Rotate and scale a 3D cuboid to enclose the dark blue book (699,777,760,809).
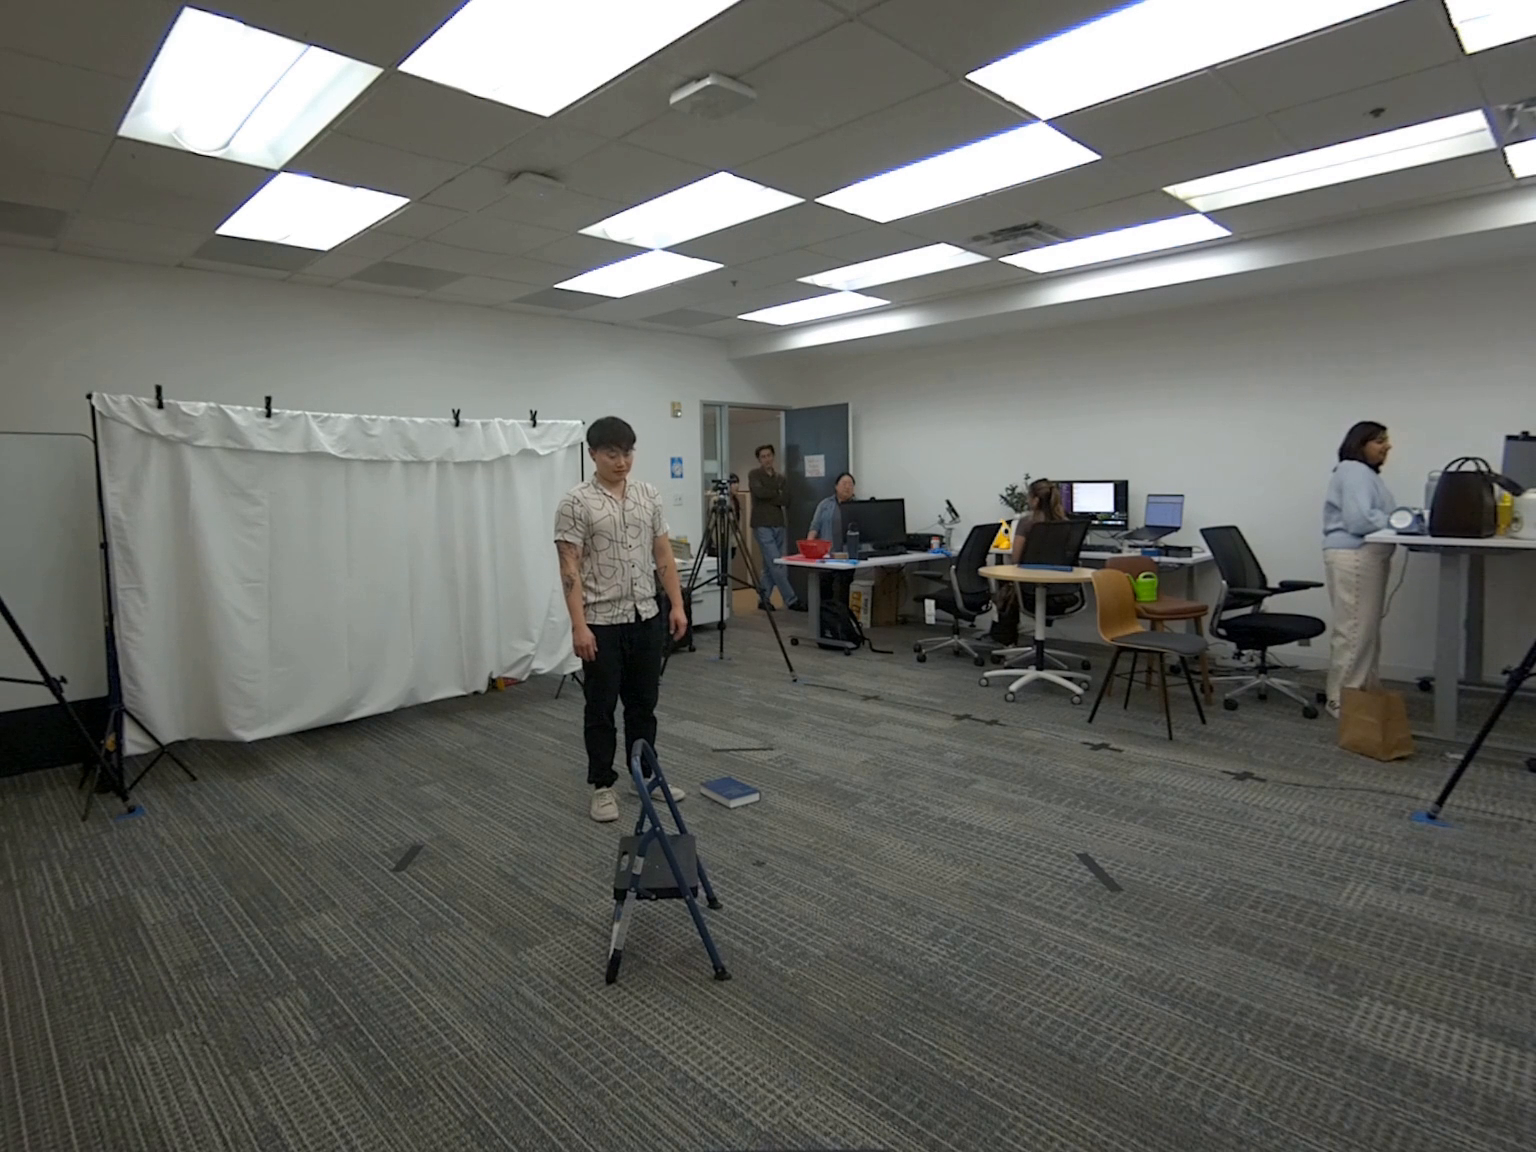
[{"bbox_3d":[-0.173,0.951,3.768,0.159,0.045,0.252,-5,8,-36],"label":"dark blue book"}]
